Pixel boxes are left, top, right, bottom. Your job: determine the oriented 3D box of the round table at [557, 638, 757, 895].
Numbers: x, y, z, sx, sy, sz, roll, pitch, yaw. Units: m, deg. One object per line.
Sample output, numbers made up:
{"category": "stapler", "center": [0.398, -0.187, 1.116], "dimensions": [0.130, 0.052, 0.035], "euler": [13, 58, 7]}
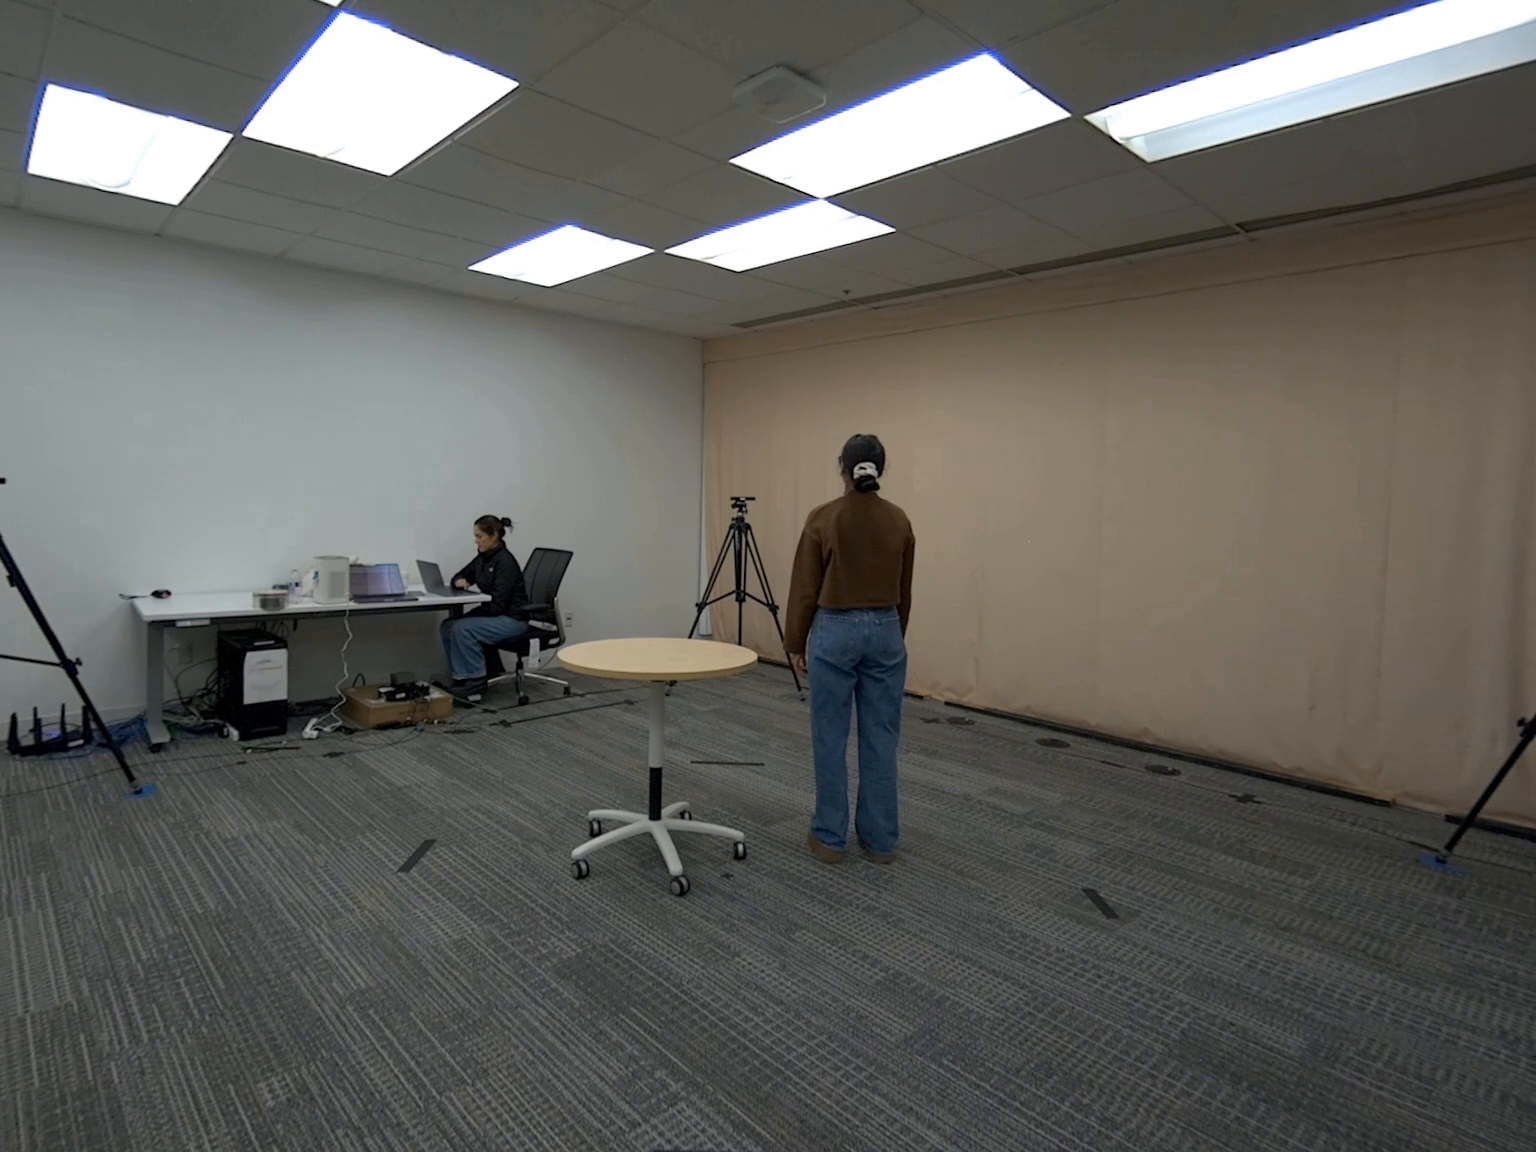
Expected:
{"category": "round table", "center": [-0.439, 0.696, 3.259], "dimensions": [0.763, 0.792, 0.766], "euler": [1, 3, -1]}
